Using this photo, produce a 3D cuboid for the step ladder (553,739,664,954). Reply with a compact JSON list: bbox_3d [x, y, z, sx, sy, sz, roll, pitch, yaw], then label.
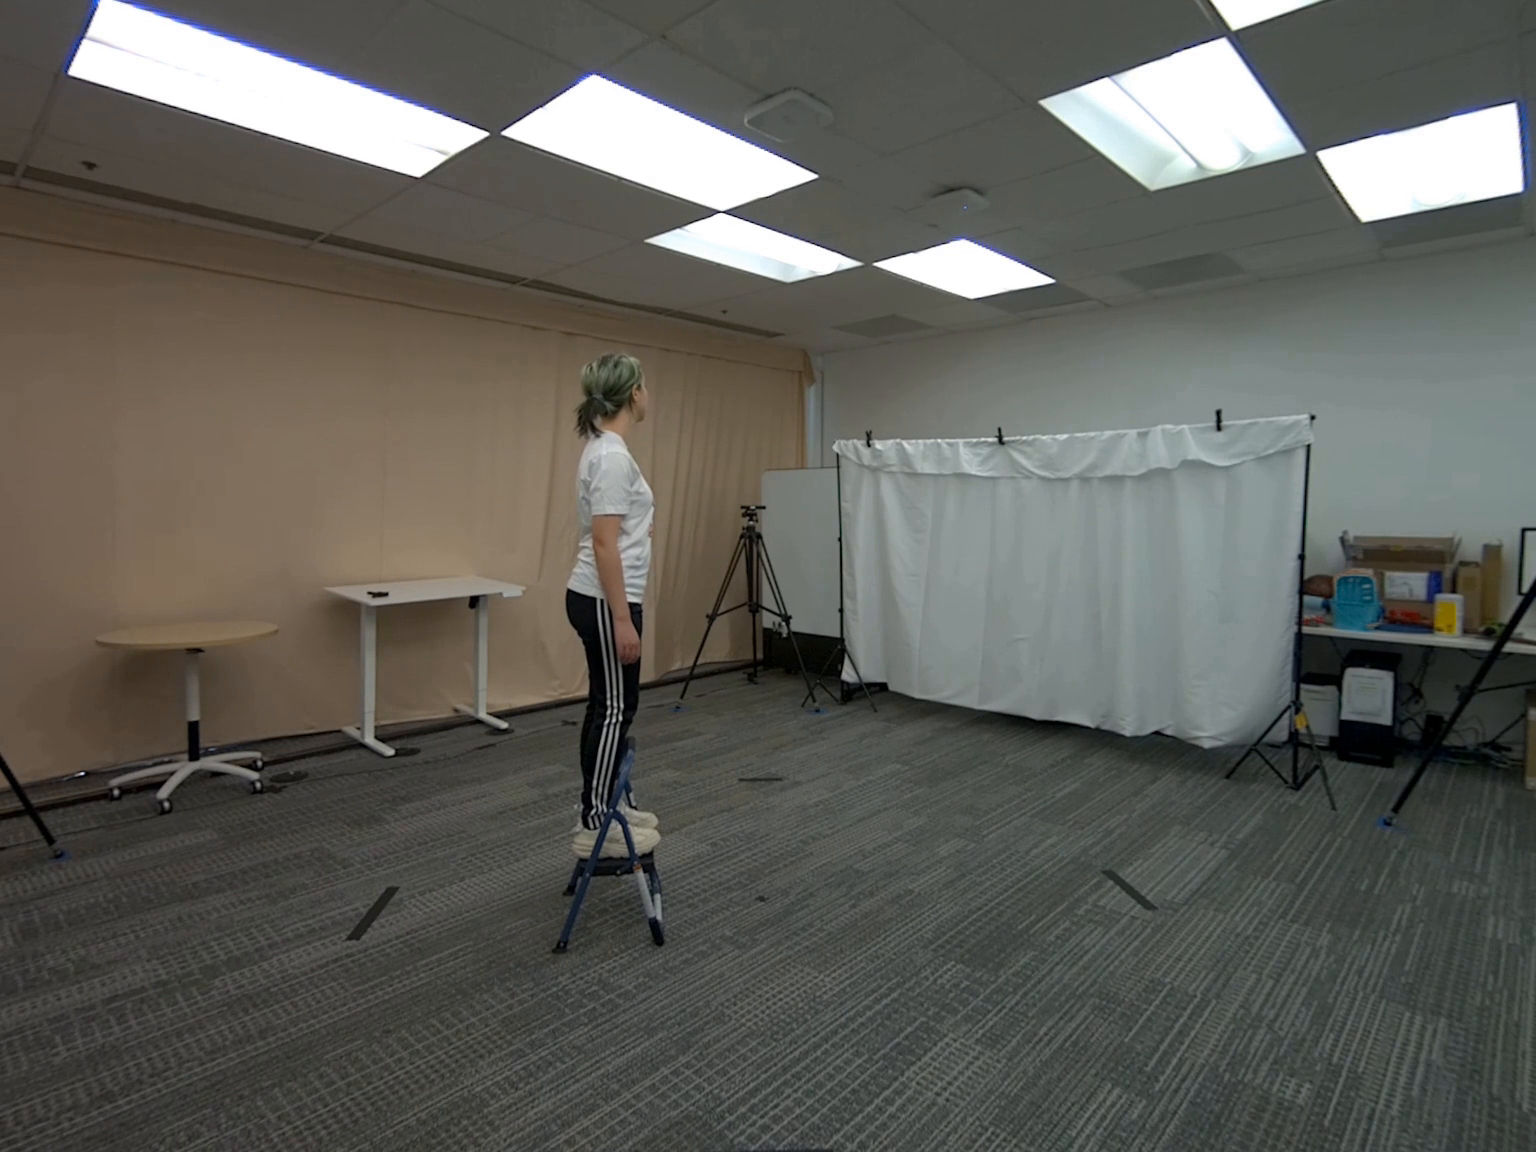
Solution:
[{"bbox_3d":[-0.532,0.860,2.836,0.347,0.605,0.435,-2,4,-8],"label":"step ladder"}]
